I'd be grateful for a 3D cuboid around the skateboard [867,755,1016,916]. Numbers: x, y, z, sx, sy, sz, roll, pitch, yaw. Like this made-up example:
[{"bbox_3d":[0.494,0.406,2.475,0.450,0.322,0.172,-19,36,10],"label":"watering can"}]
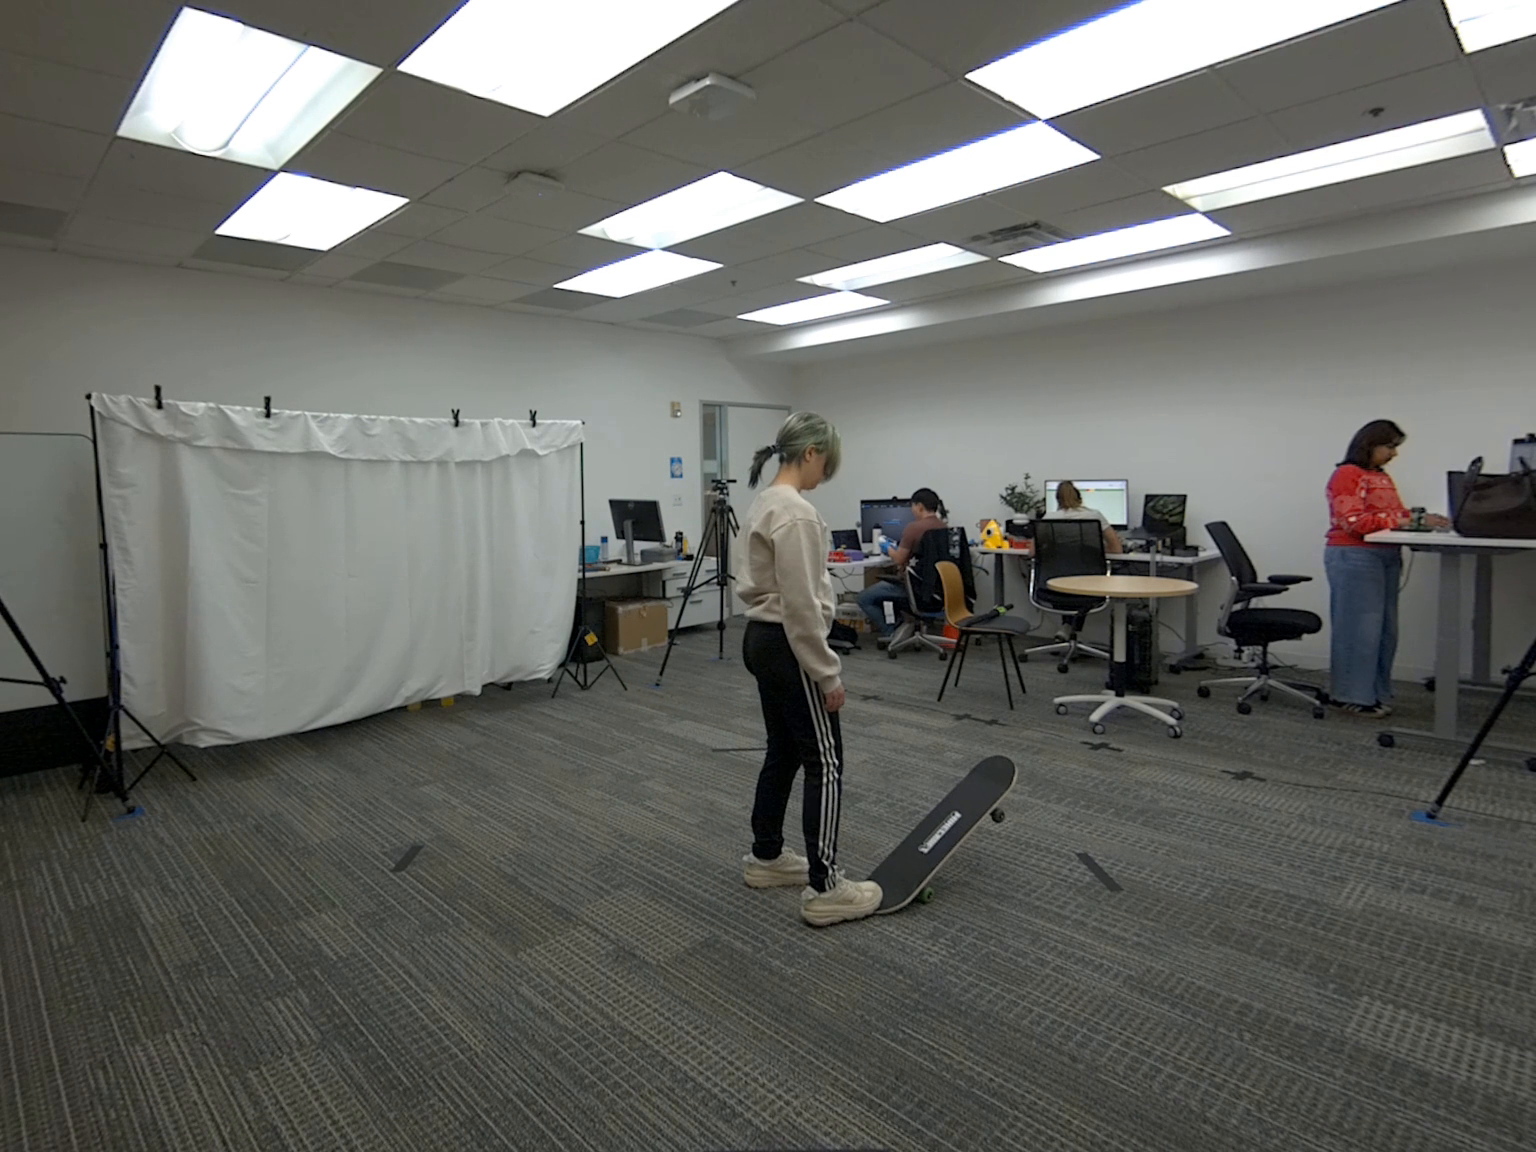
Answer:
[{"bbox_3d":[0.604,0.907,2.950,0.780,0.108,0.199,-37,23,-27],"label":"skateboard"}]
